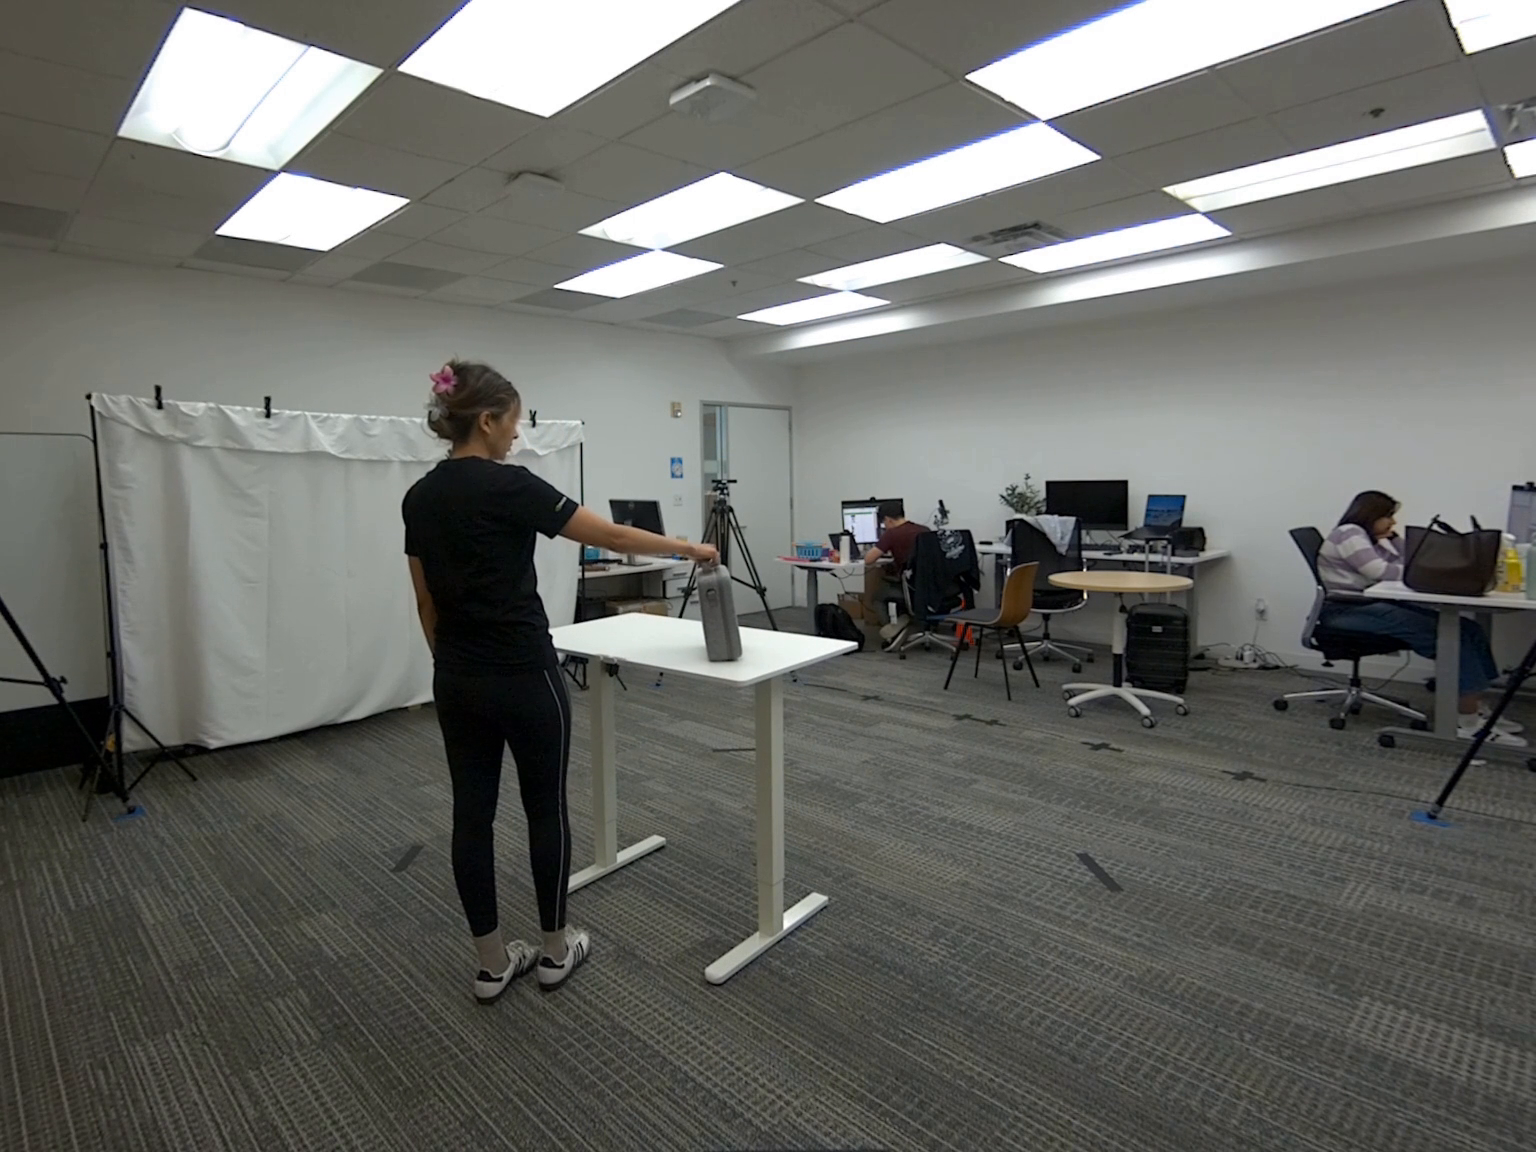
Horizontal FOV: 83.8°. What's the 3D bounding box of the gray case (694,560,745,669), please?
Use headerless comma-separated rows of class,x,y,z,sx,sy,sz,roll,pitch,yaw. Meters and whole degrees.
gray case,-0.144,0.105,2.537,0.104,0.259,0.259,-8,8,-1
